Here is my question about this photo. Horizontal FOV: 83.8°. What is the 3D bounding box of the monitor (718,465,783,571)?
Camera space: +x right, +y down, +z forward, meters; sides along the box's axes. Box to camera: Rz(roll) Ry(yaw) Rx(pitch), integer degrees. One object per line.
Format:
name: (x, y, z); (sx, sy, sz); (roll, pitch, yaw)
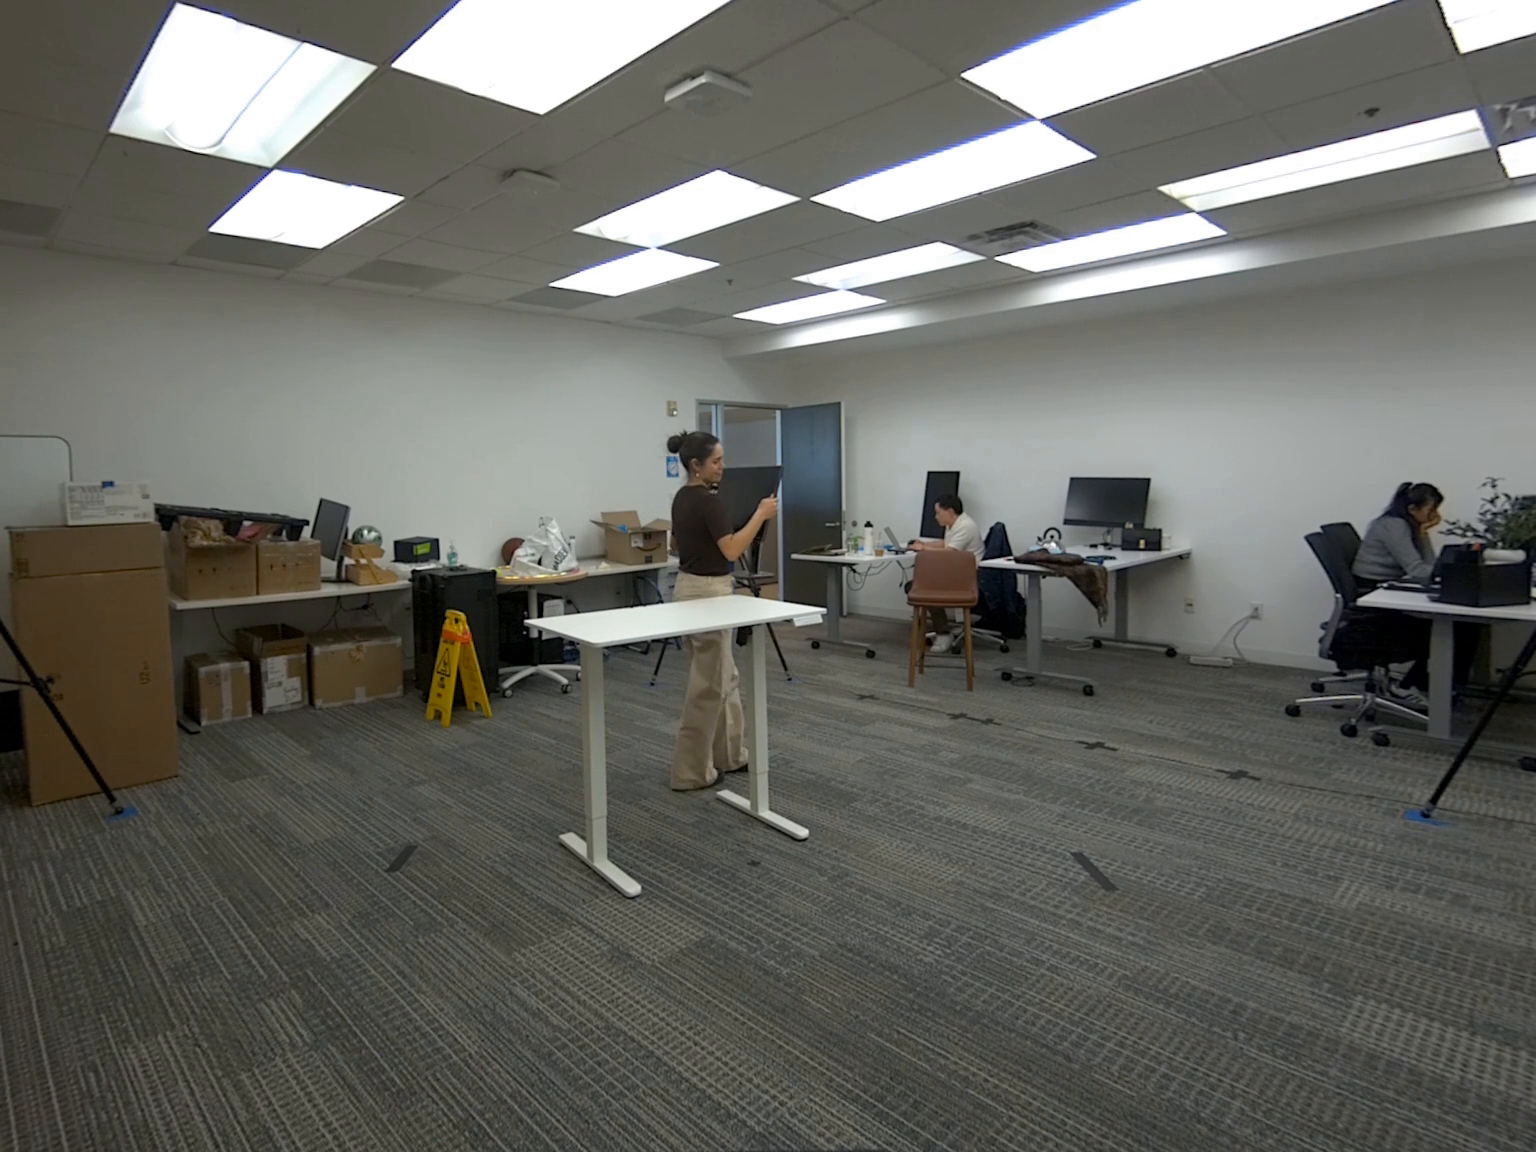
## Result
monitor: (-0.097, -0.253, 4.024); (0.182, 0.521, 0.555); (0, 5, -35)
